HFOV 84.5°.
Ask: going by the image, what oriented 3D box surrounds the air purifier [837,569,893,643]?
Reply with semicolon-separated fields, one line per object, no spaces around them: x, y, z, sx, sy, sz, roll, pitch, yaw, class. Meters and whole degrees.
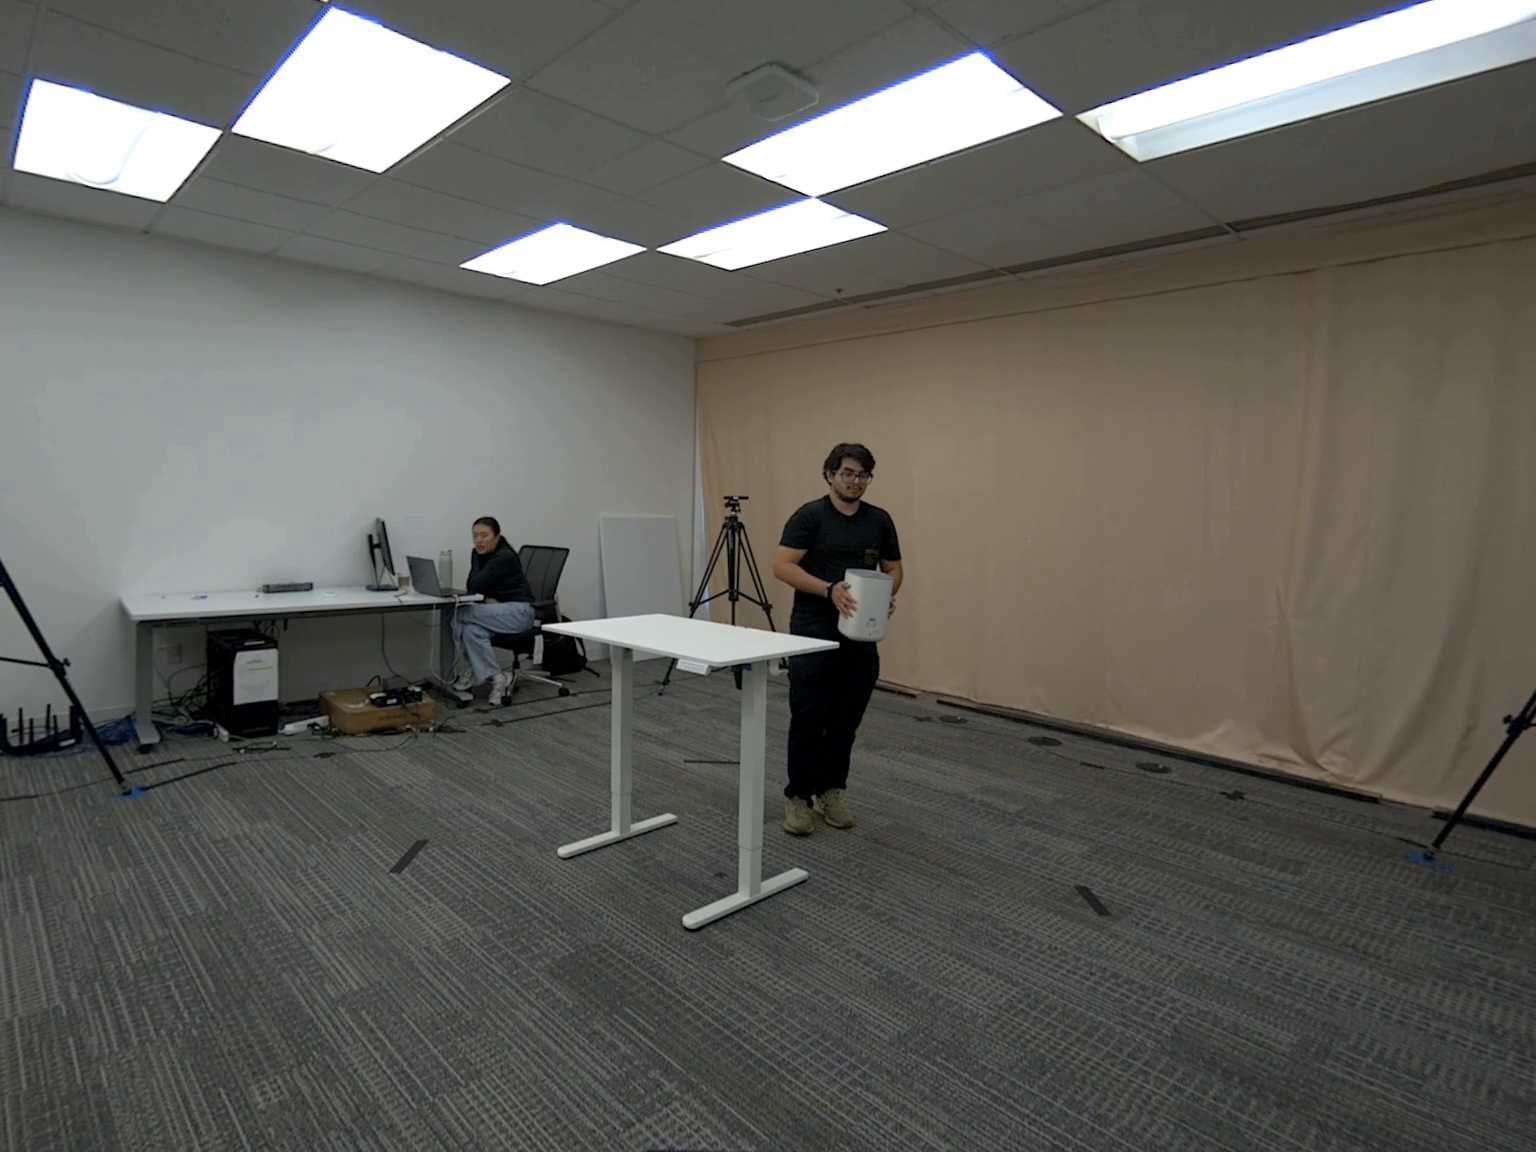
0.381;0.120;3.387;0.168;0.264;0.175;5;8;-18;air purifier
